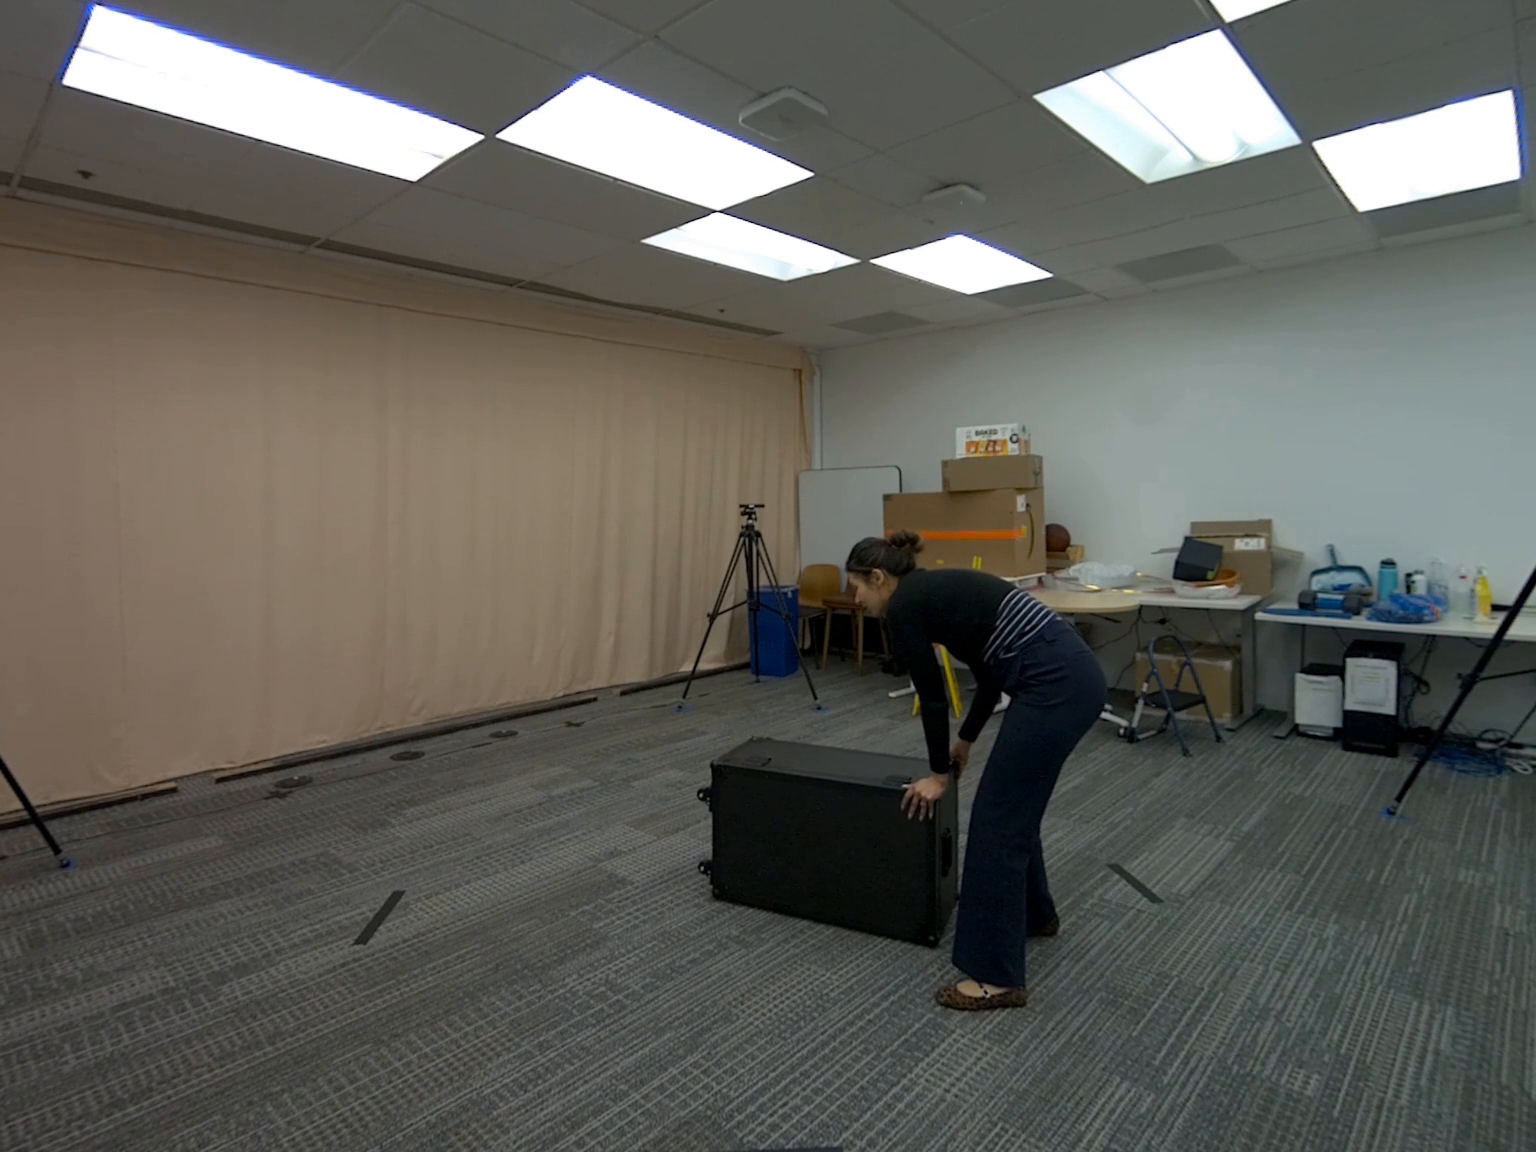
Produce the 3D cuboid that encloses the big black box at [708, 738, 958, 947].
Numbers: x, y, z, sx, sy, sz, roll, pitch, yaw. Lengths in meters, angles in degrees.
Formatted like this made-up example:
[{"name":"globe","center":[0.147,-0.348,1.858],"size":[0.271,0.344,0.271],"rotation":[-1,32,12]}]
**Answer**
[{"name":"big black box","center":[0.206,0.879,2.953],"size":[0.884,0.520,0.387],"rotation":[2,5,25]}]
